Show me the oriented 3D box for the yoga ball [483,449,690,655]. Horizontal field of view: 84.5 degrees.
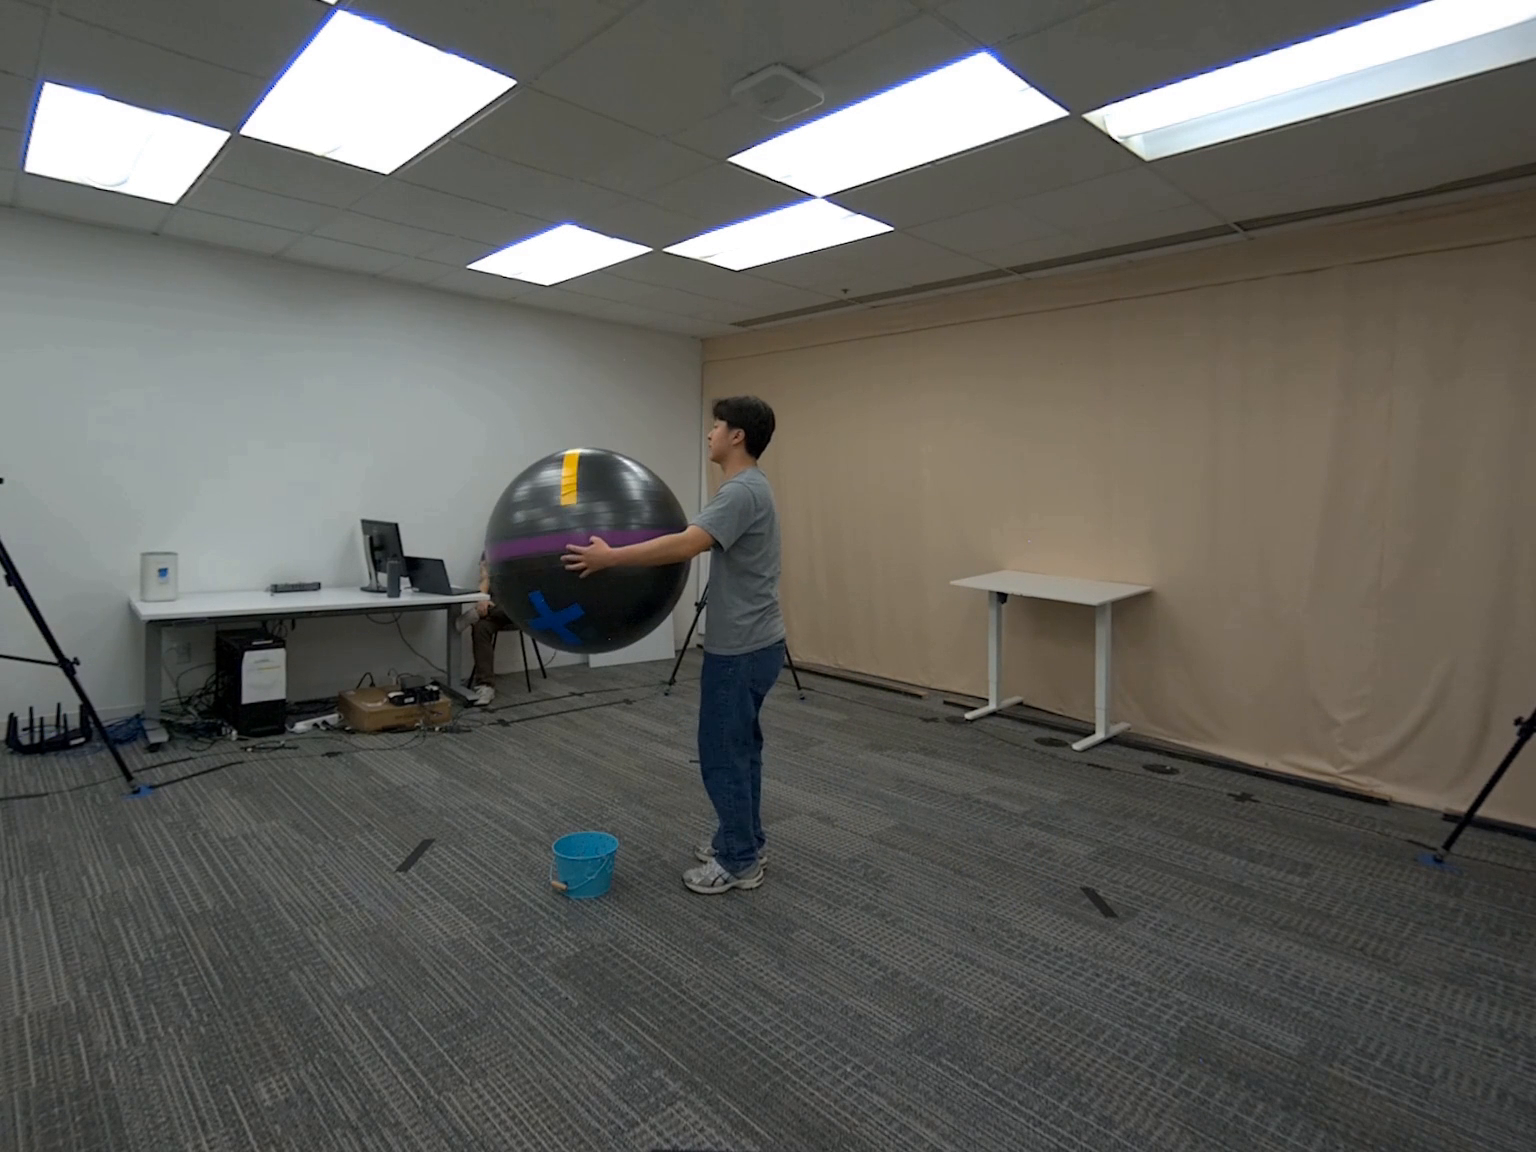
[{"bbox_3d":[-0.682,-0.074,3.128,0.757,0.756,0.761,1,4,-1],"label":"yoga ball"}]
